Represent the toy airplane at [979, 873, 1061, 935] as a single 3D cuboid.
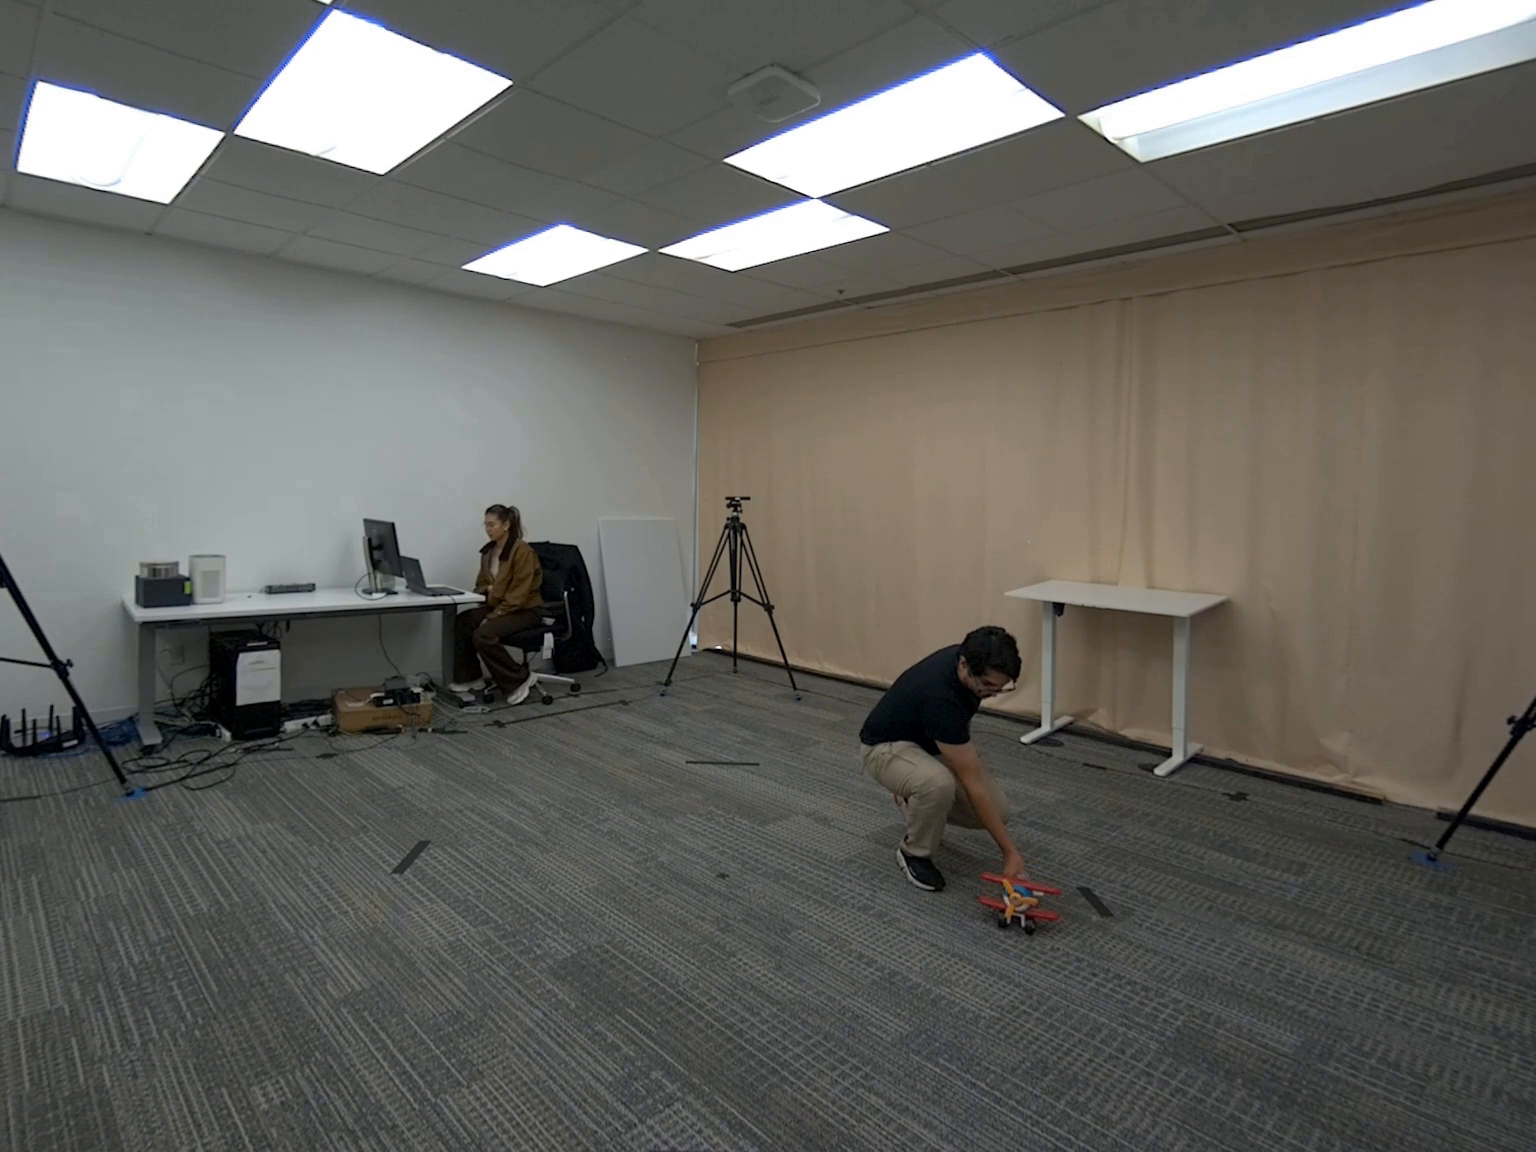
[{"bbox_3d":[0.819,1.083,2.839,0.250,0.156,0.261,1,5,-3],"label":"toy airplane"}]
